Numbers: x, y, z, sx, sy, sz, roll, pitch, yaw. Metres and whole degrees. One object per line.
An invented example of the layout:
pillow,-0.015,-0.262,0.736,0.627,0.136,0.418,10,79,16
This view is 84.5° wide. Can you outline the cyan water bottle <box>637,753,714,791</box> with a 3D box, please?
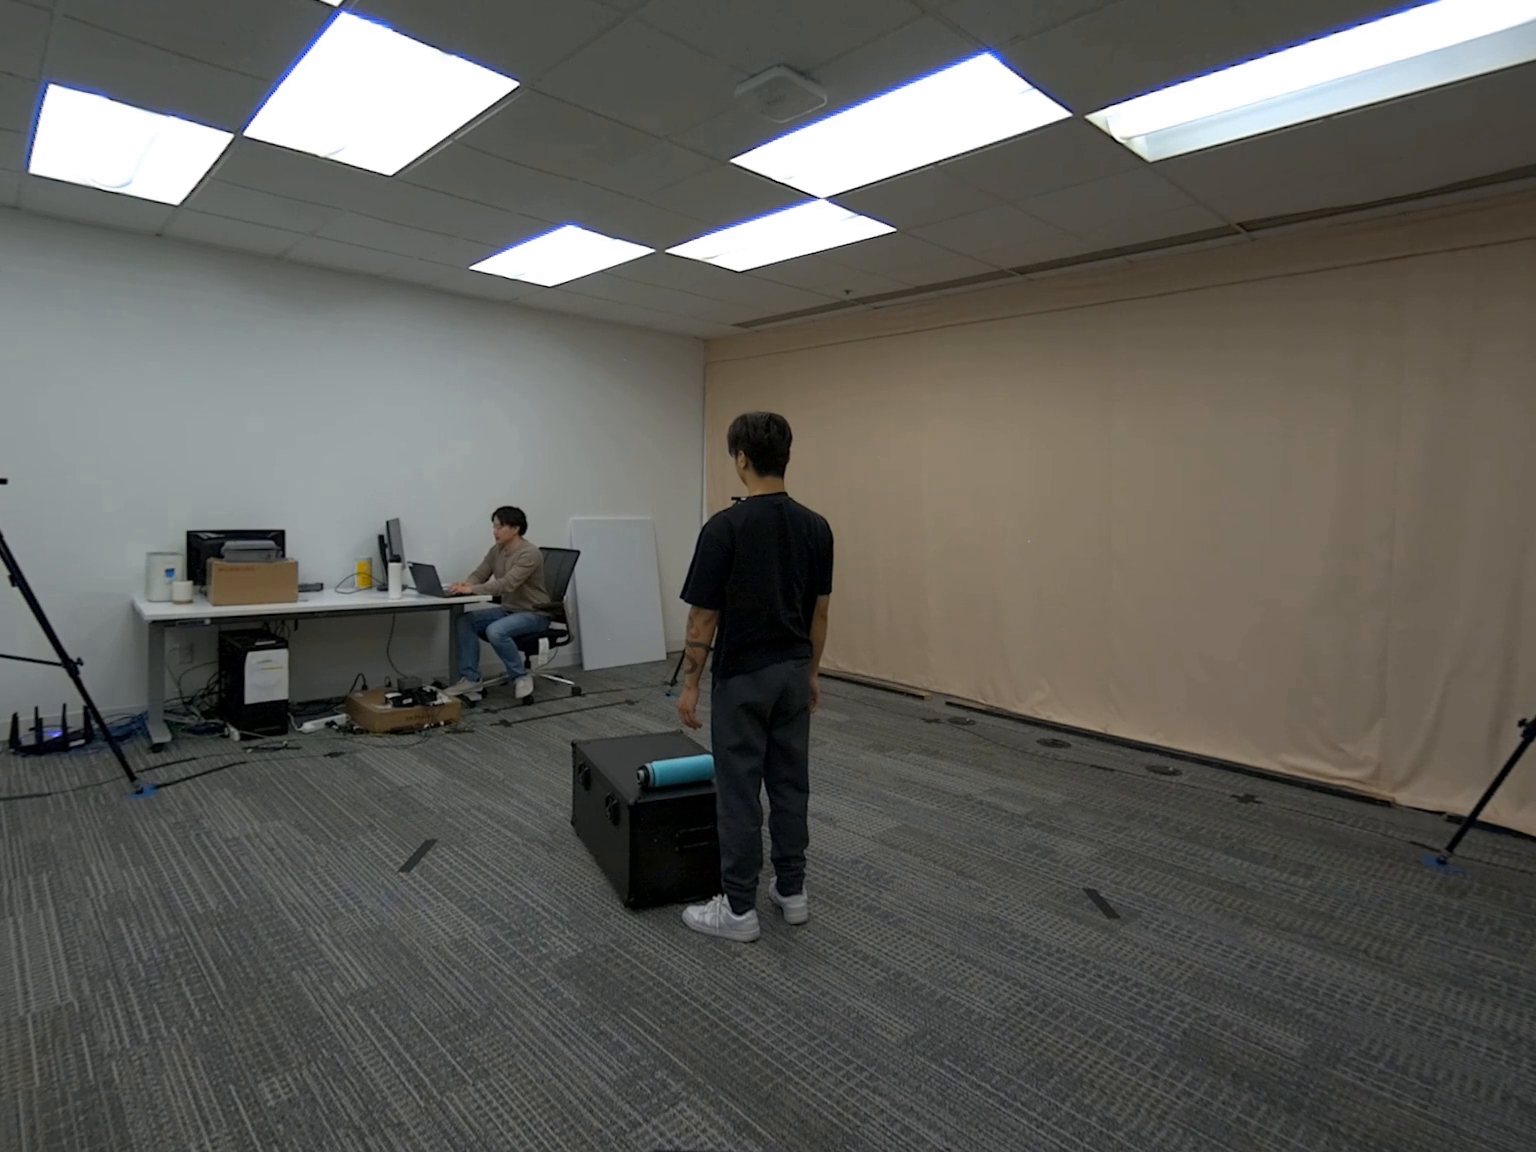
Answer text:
cyan water bottle,-0.332,0.692,2.975,0.278,0.092,0.094,-3,6,-25
